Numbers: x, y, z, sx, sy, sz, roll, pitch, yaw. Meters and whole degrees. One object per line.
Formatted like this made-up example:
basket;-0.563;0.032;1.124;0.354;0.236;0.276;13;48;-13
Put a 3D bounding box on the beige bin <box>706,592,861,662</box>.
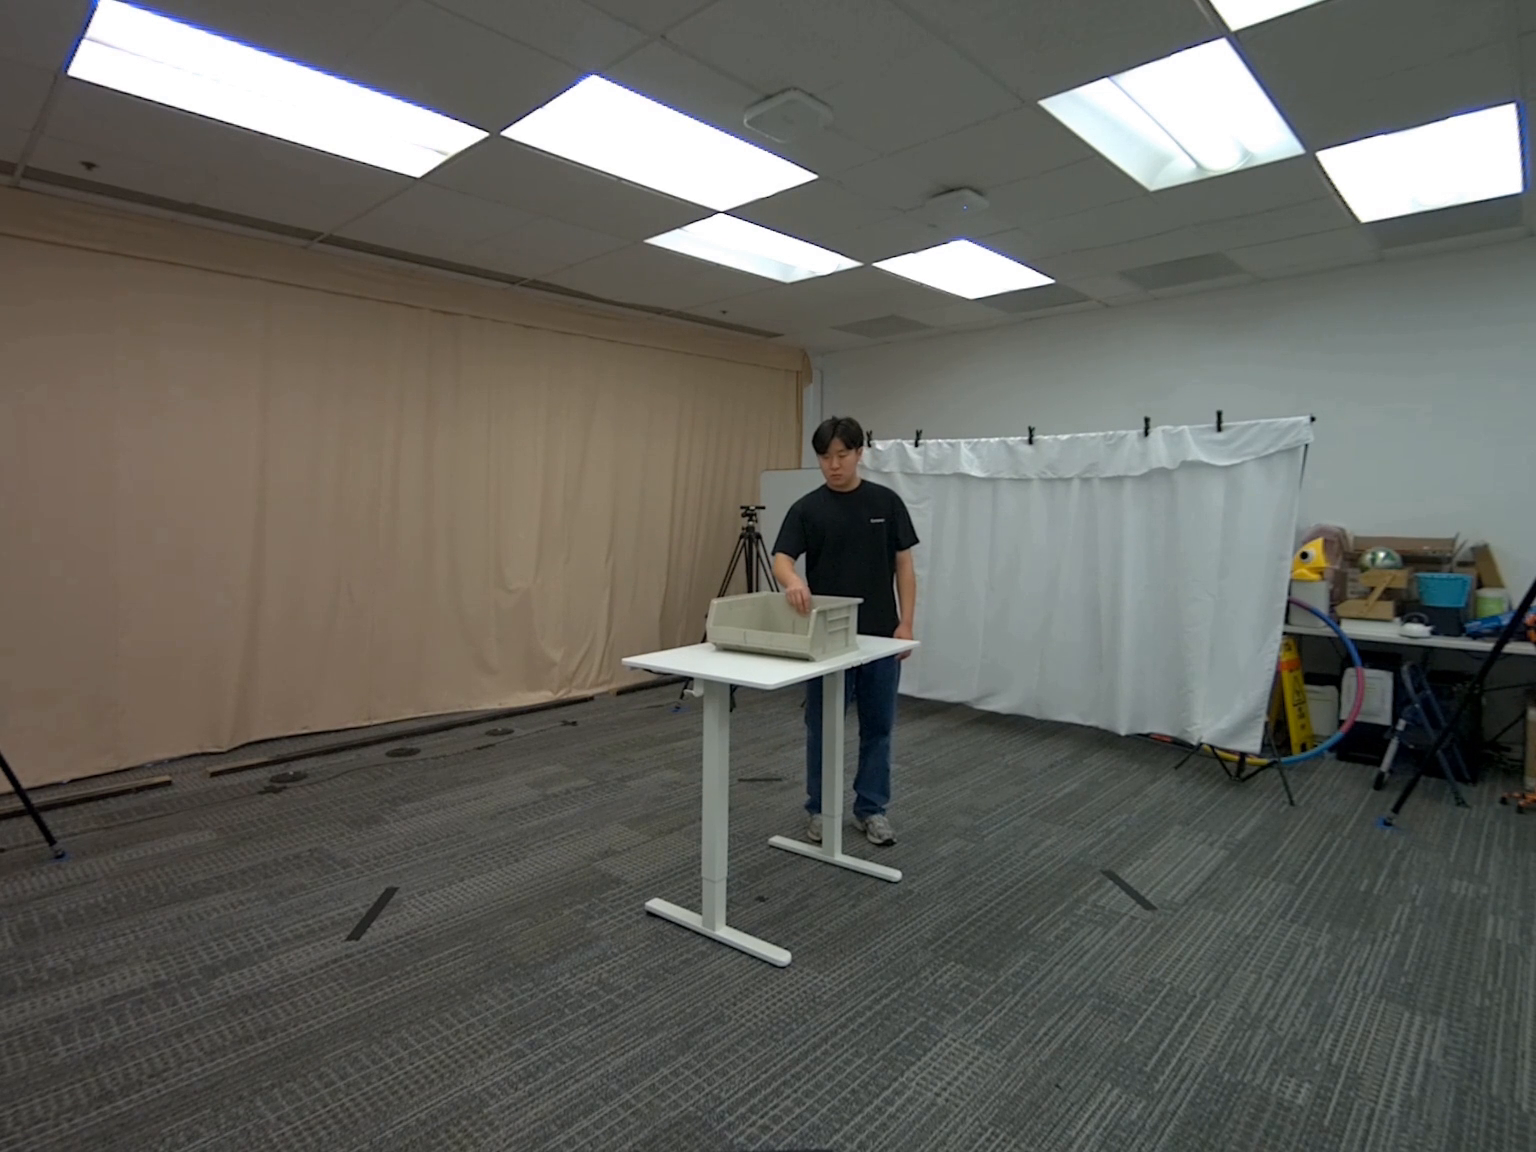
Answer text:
beige bin;0.065;0.175;2.964;0.435;0.189;0.366;3;4;33
